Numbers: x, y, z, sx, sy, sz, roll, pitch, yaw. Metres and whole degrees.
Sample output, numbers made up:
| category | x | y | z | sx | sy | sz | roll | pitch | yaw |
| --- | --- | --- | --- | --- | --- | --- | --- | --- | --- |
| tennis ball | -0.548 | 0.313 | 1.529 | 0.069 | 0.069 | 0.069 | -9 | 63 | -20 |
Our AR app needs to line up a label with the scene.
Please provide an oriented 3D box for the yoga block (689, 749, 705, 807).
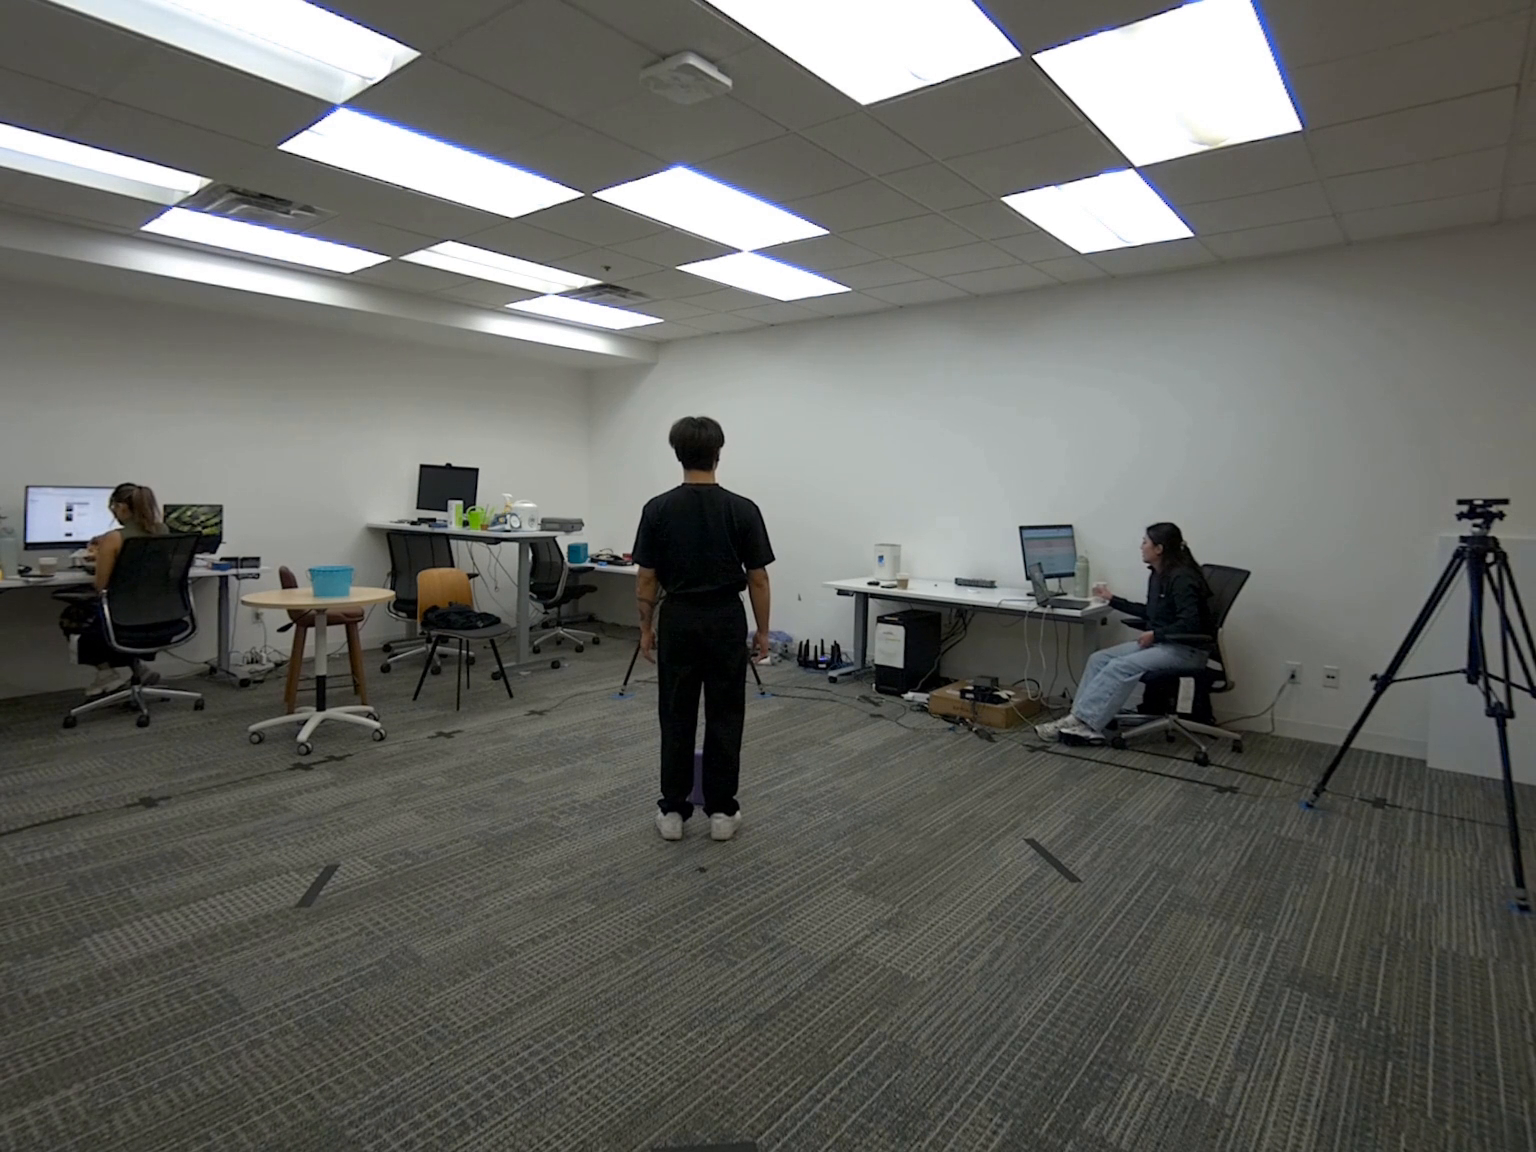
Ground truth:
| category | x | y | z | sx | sy | sz | roll | pitch | yaw |
| --- | --- | --- | --- | --- | --- | --- | --- | --- | --- |
| yoga block | -0.284 | 0.887 | 3.762 | 0.150 | 0.229 | 0.076 | 1 | 1 | 5 |
